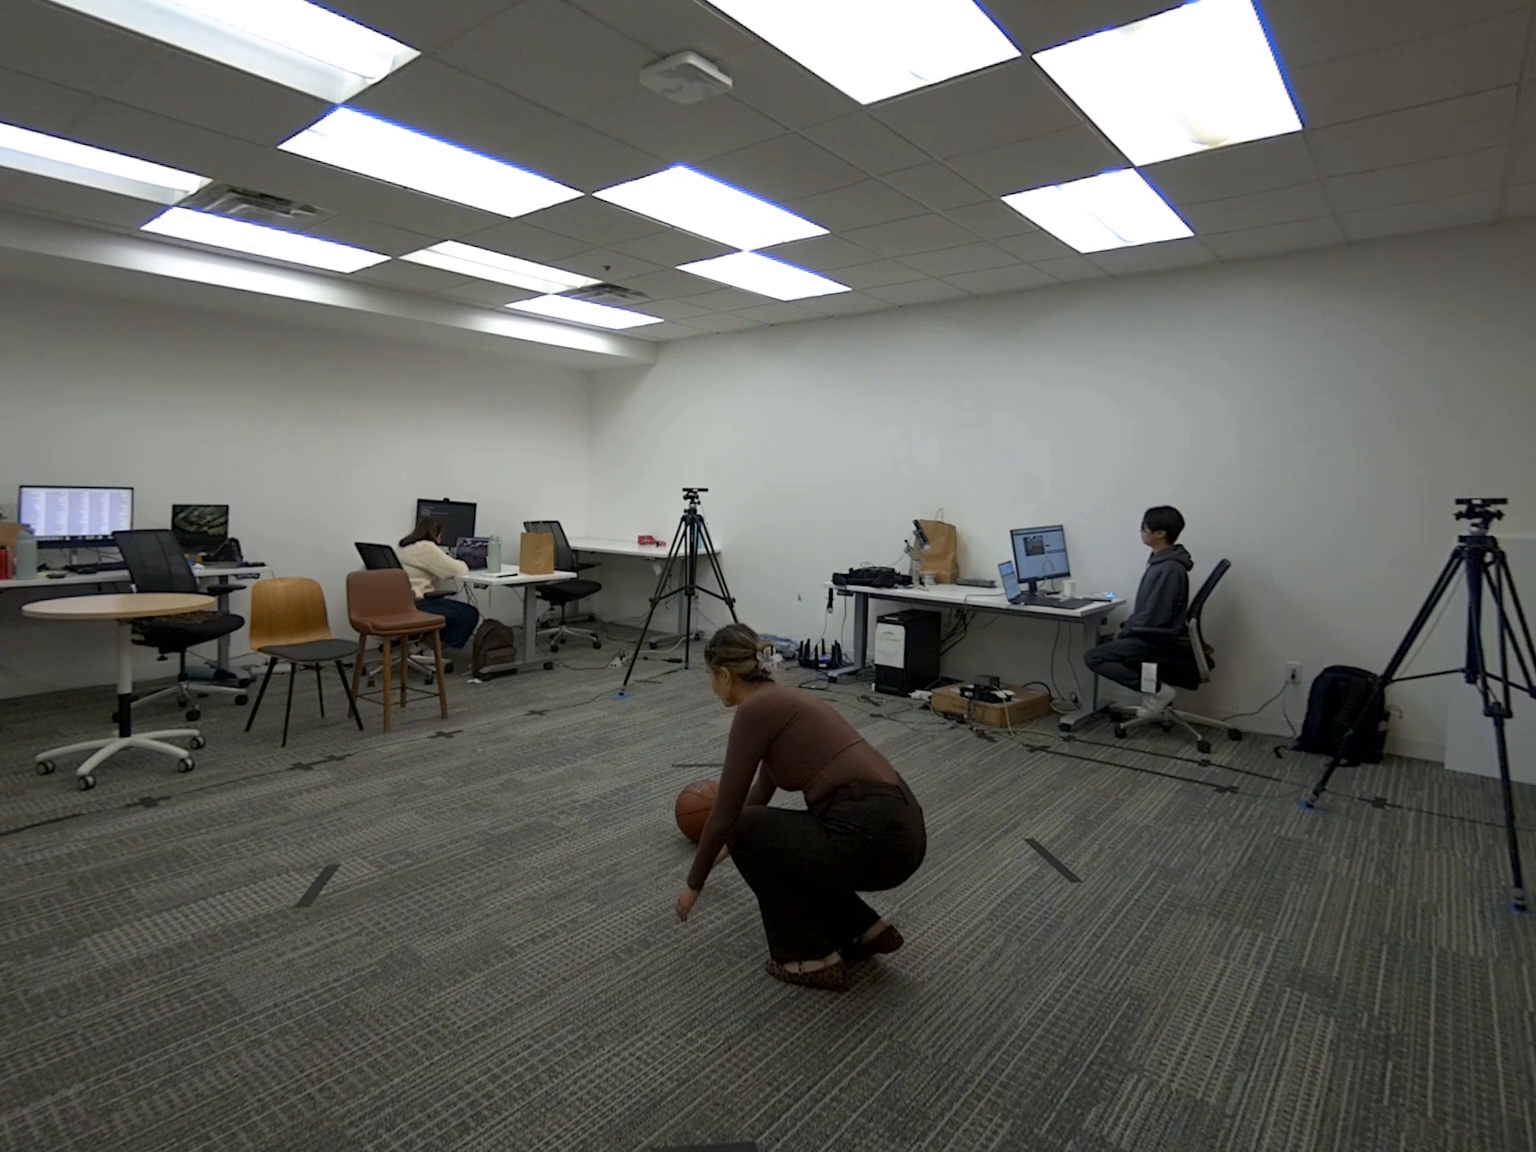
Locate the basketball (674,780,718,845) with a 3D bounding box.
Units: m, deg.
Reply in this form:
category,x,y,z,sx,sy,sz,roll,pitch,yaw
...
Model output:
category,x,y,z,sx,sy,sz,roll,pitch,yaw
basketball,-0.261,0.921,3.358,0.236,0.235,0.237,1,4,-2
